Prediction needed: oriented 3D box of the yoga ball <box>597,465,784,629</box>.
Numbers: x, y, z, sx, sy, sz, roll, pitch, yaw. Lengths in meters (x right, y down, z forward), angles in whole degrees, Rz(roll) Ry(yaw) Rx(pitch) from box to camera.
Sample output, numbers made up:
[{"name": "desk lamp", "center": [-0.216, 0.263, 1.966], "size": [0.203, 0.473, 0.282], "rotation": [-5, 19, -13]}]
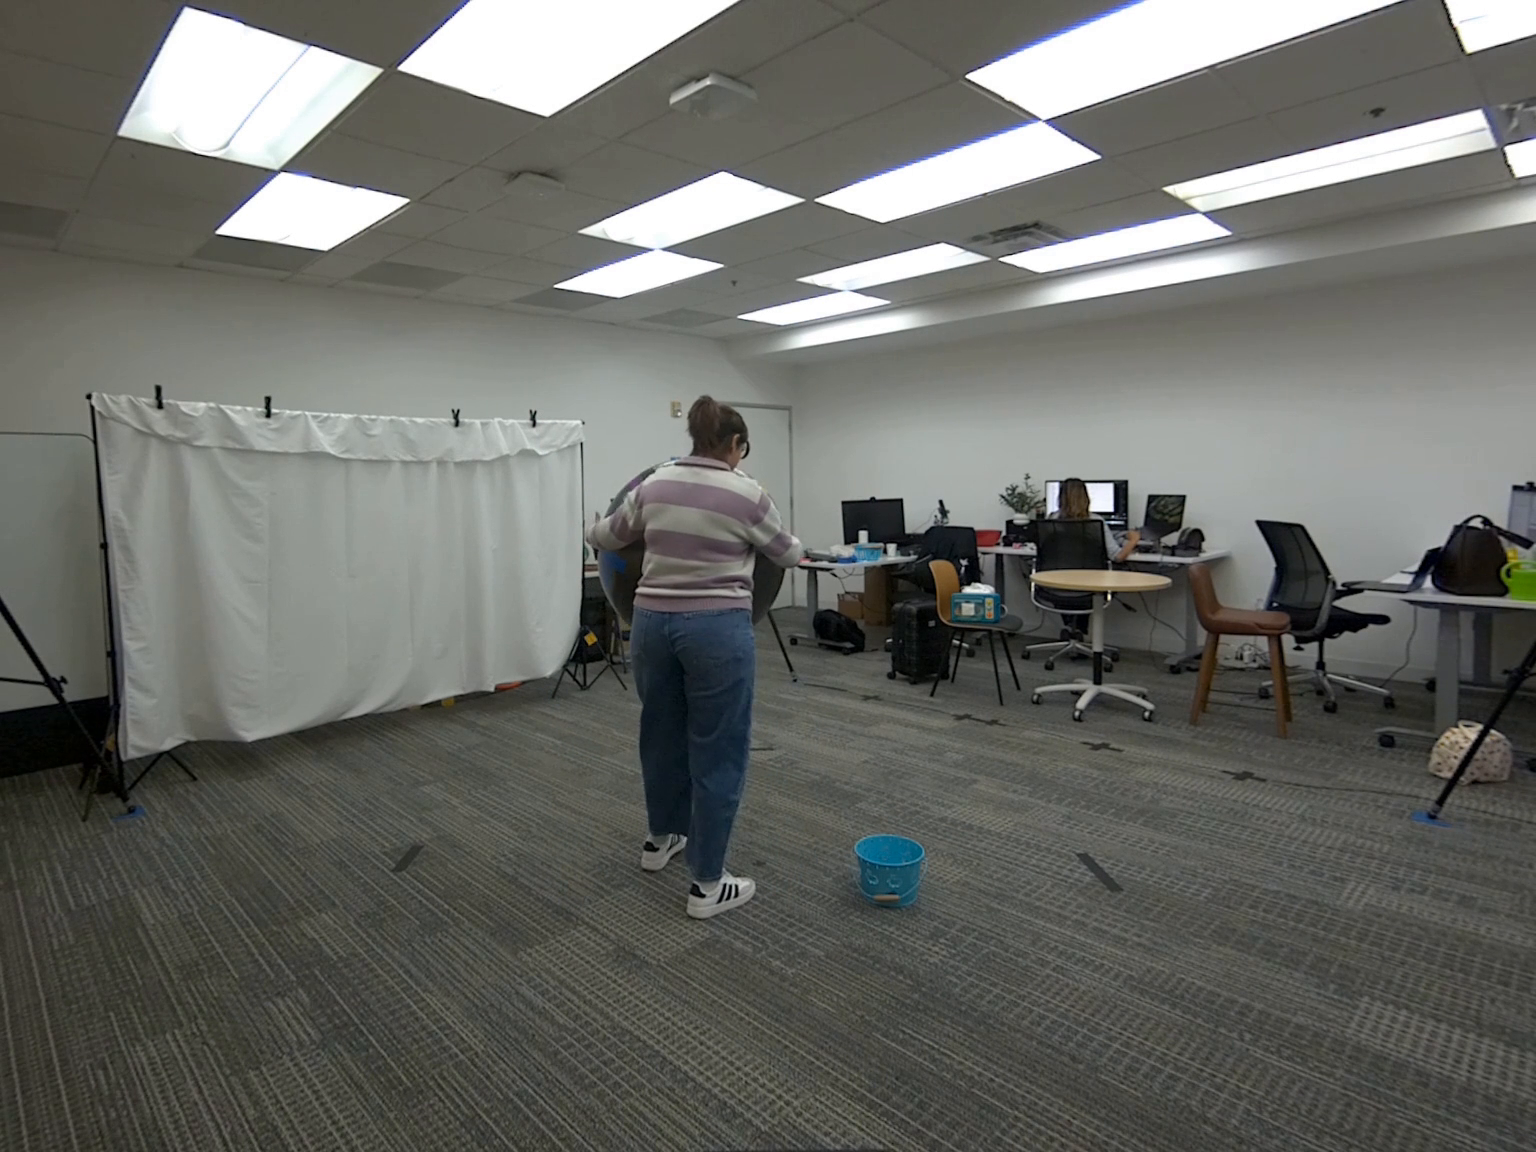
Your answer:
[{"name": "yoga ball", "center": [-0.297, -0.084, 3.408], "size": [0.757, 0.755, 0.762], "rotation": [-1, 5, -2]}]
